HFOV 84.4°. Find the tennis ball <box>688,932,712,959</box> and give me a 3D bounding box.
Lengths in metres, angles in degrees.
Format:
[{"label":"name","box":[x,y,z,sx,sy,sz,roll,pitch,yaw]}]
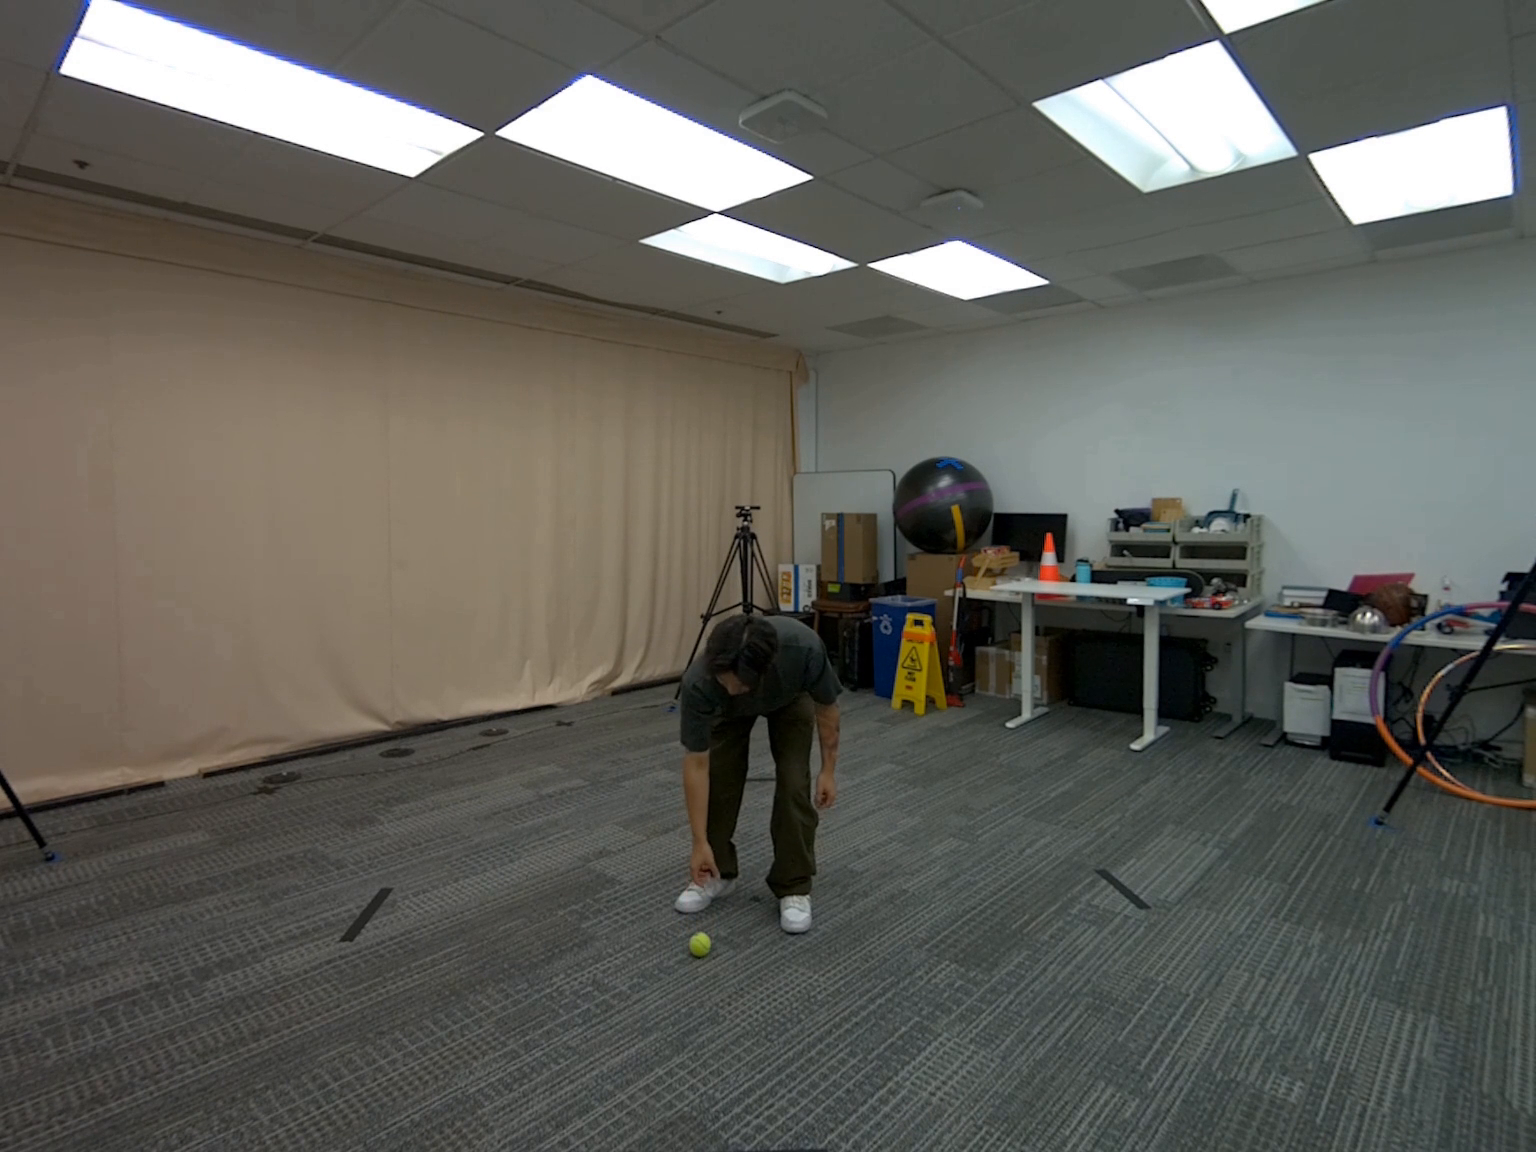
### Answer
[{"label":"tennis ball","box":[-0.213,1.130,2.604,0.066,0.066,0.067,0,4,-2]}]
